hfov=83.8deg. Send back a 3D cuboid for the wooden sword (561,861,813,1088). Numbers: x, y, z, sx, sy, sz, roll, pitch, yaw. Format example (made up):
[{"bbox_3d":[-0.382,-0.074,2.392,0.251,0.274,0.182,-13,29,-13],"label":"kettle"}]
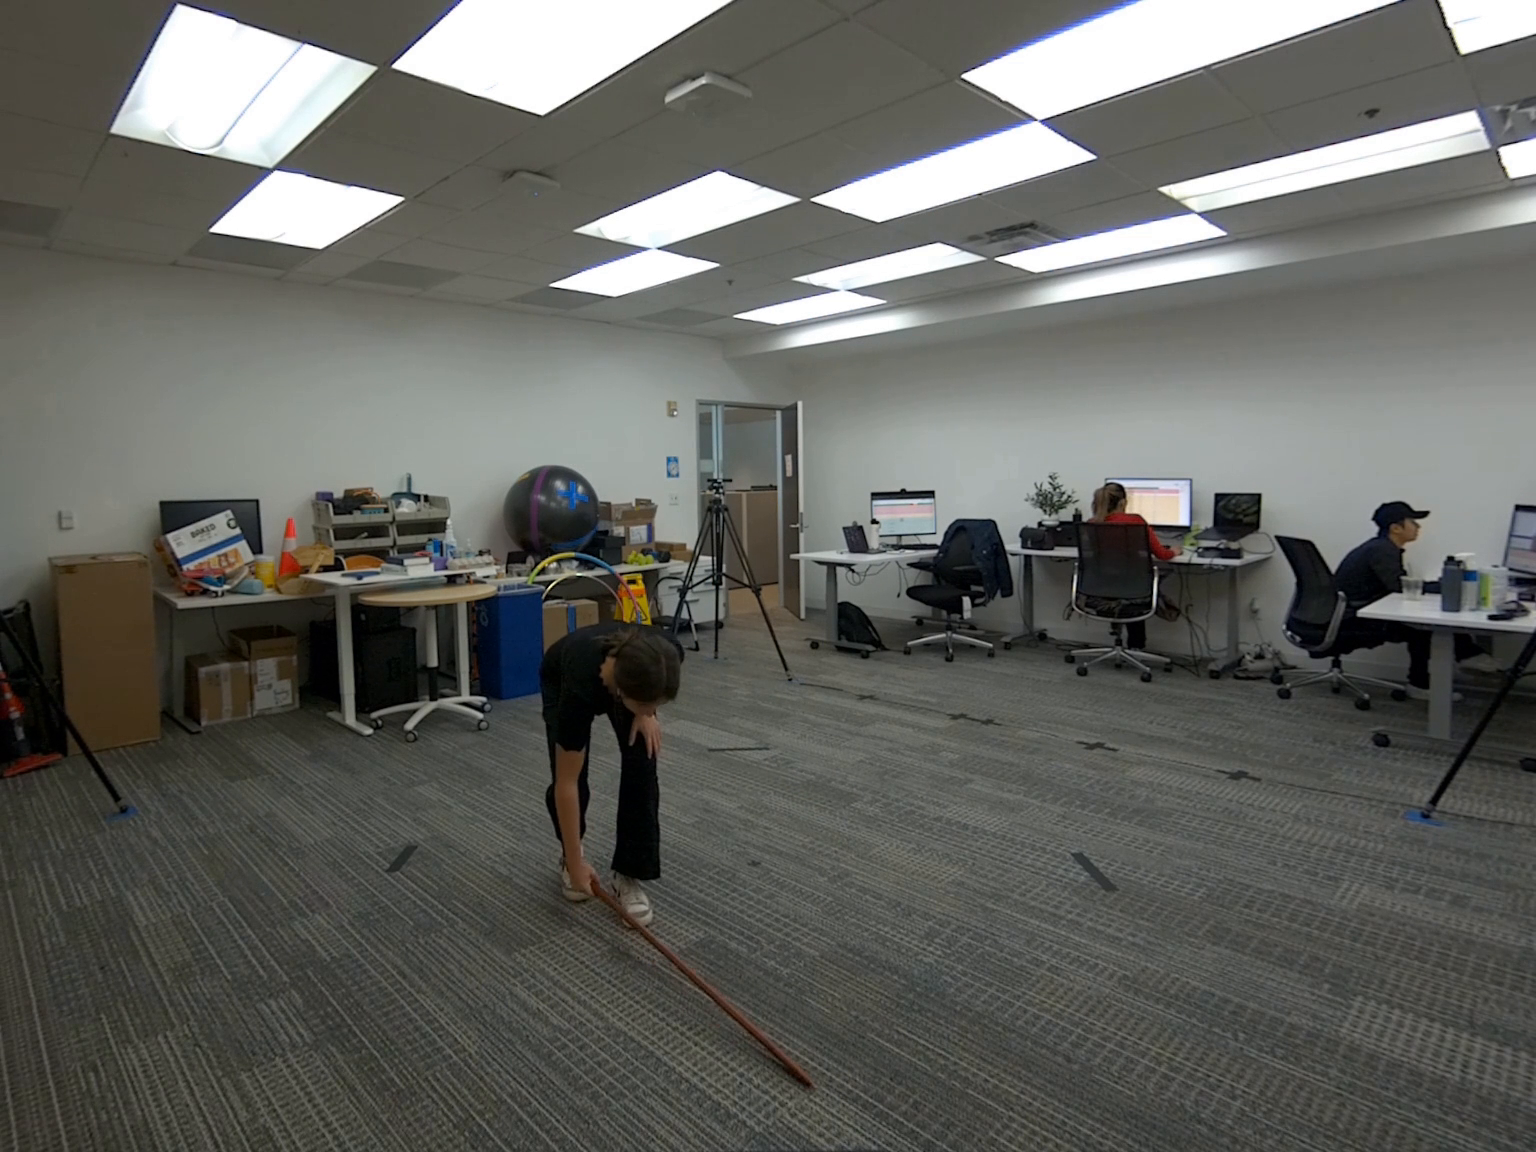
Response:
[{"bbox_3d":[-0.238,1.047,2.319,1.062,0.024,0.049,18,-16,44],"label":"wooden sword"}]
